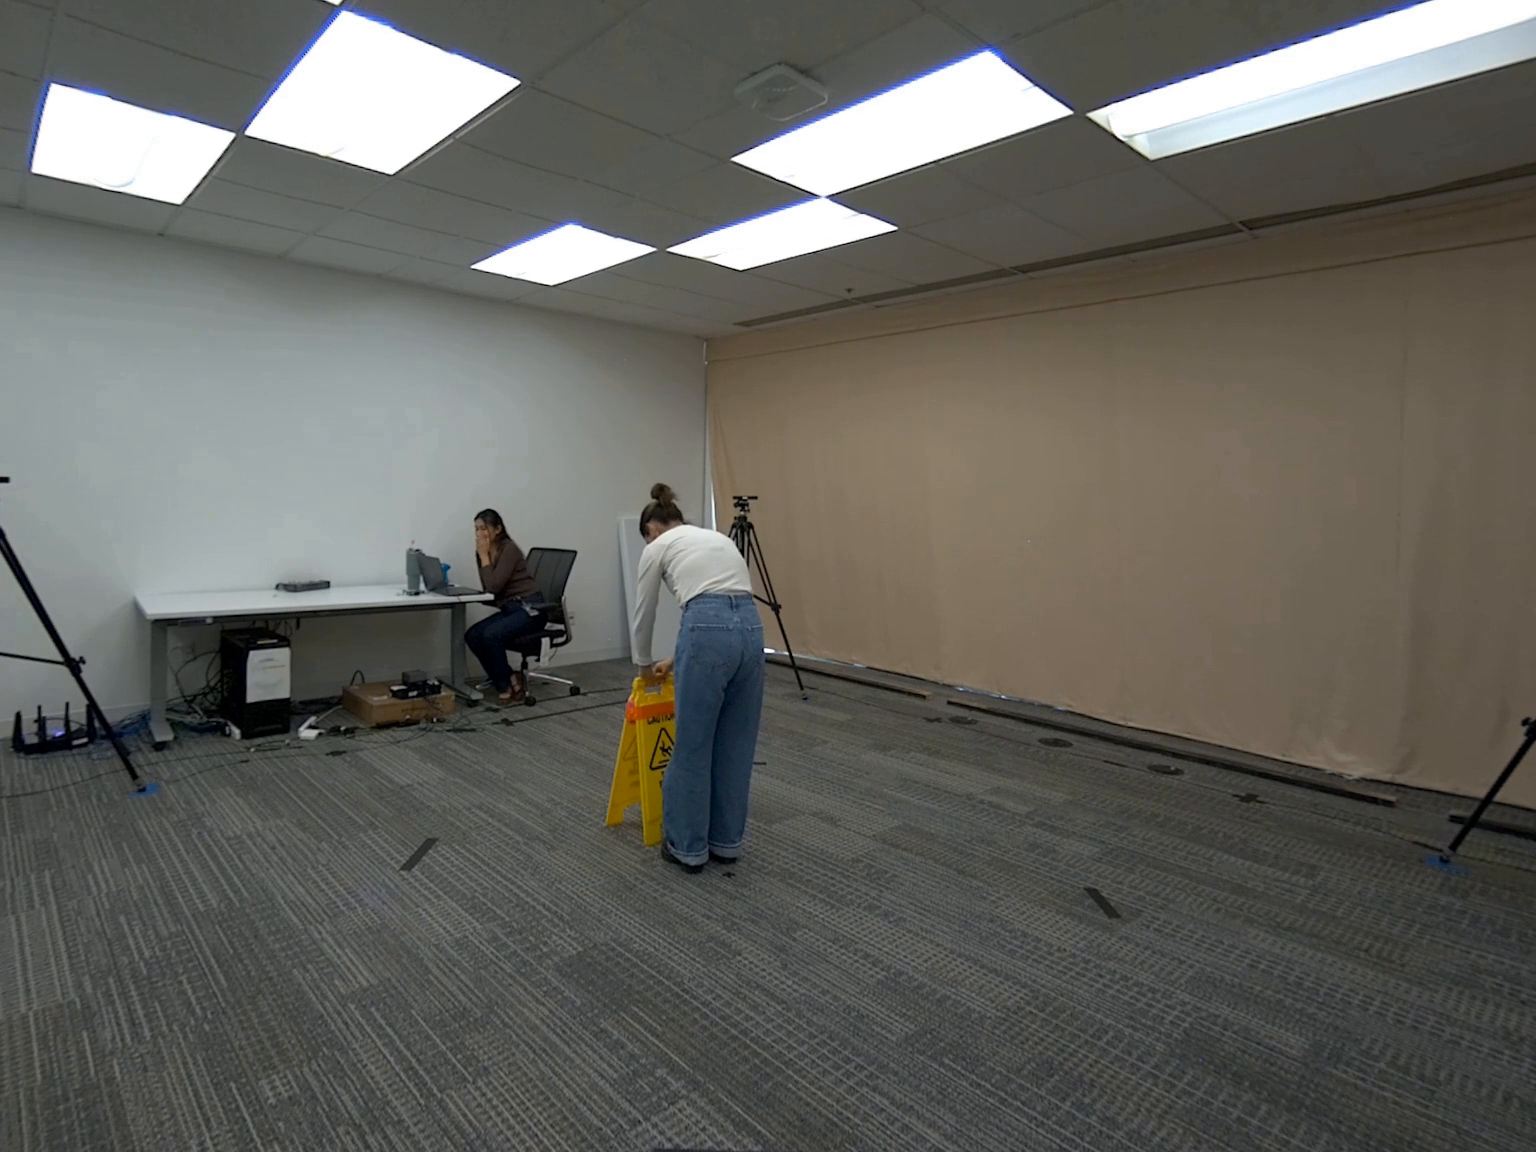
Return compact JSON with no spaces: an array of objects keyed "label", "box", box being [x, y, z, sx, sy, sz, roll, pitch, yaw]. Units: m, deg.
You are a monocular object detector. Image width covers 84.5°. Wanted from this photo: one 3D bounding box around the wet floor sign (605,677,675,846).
[{"label":"wet floor sign","box":[-0.490,0.734,3.512,0.275,0.645,0.297,-1,2,-45]}]
